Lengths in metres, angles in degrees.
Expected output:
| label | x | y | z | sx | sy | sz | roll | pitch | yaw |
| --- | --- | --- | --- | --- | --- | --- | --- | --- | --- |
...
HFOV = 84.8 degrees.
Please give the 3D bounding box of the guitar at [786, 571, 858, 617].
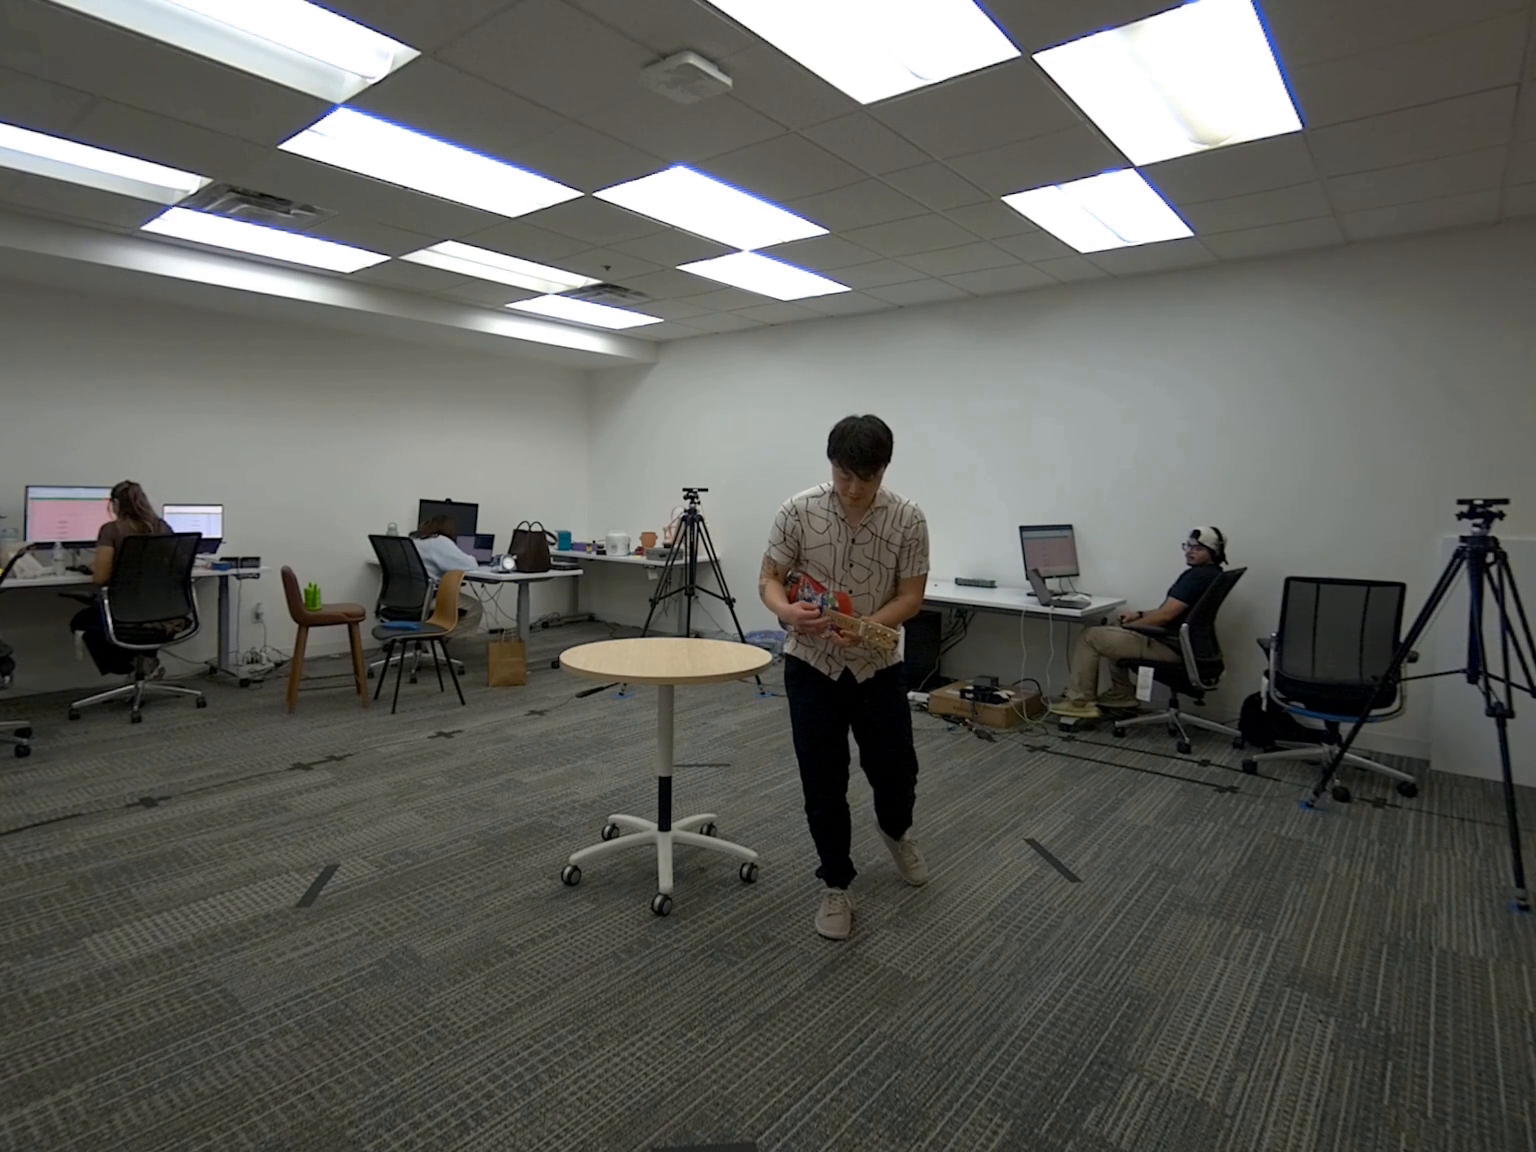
| label | x | y | z | sx | sy | sz | roll | pitch | yaw |
| --- | --- | --- | --- | --- | --- | --- | --- | --- | --- |
| guitar | 0.208 | 0.149 | 2.573 | 0.068 | 0.191 | 0.519 | 7 | 17 | -36 |
